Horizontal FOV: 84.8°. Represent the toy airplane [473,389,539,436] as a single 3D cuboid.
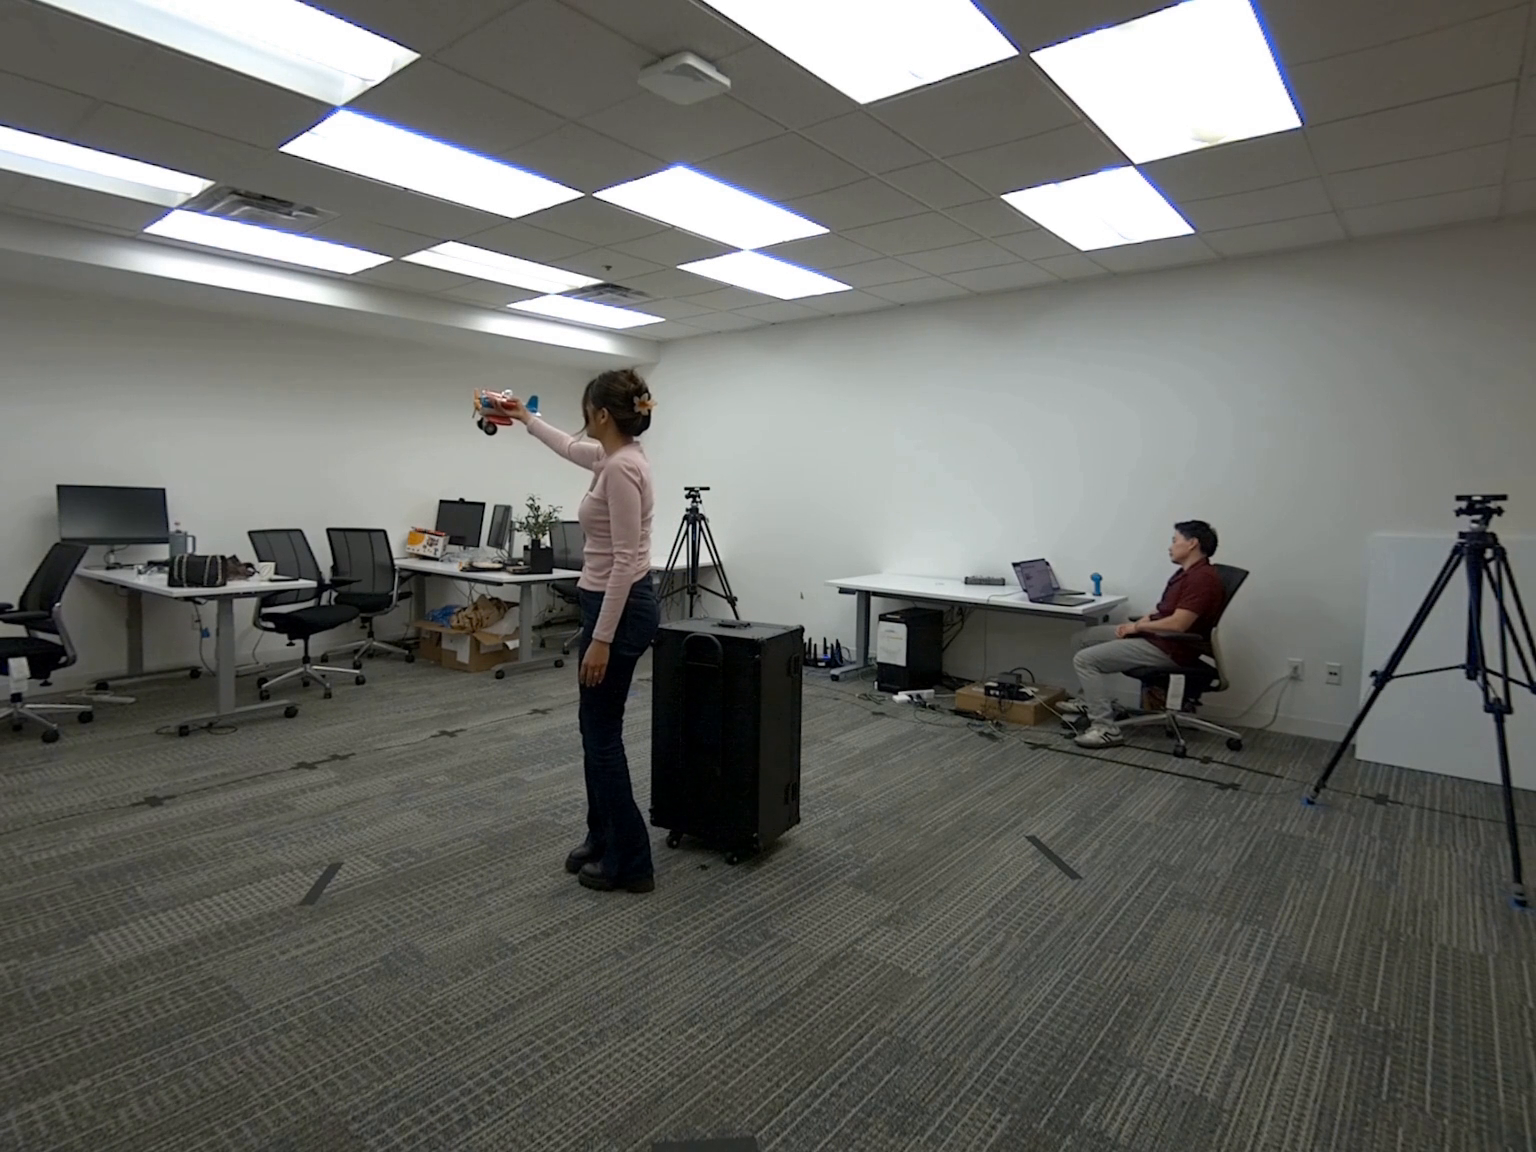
[{"bbox_3d":[-1.074,-0.674,3.437,0.259,0.153,0.256,16,28,27],"label":"toy airplane"}]
